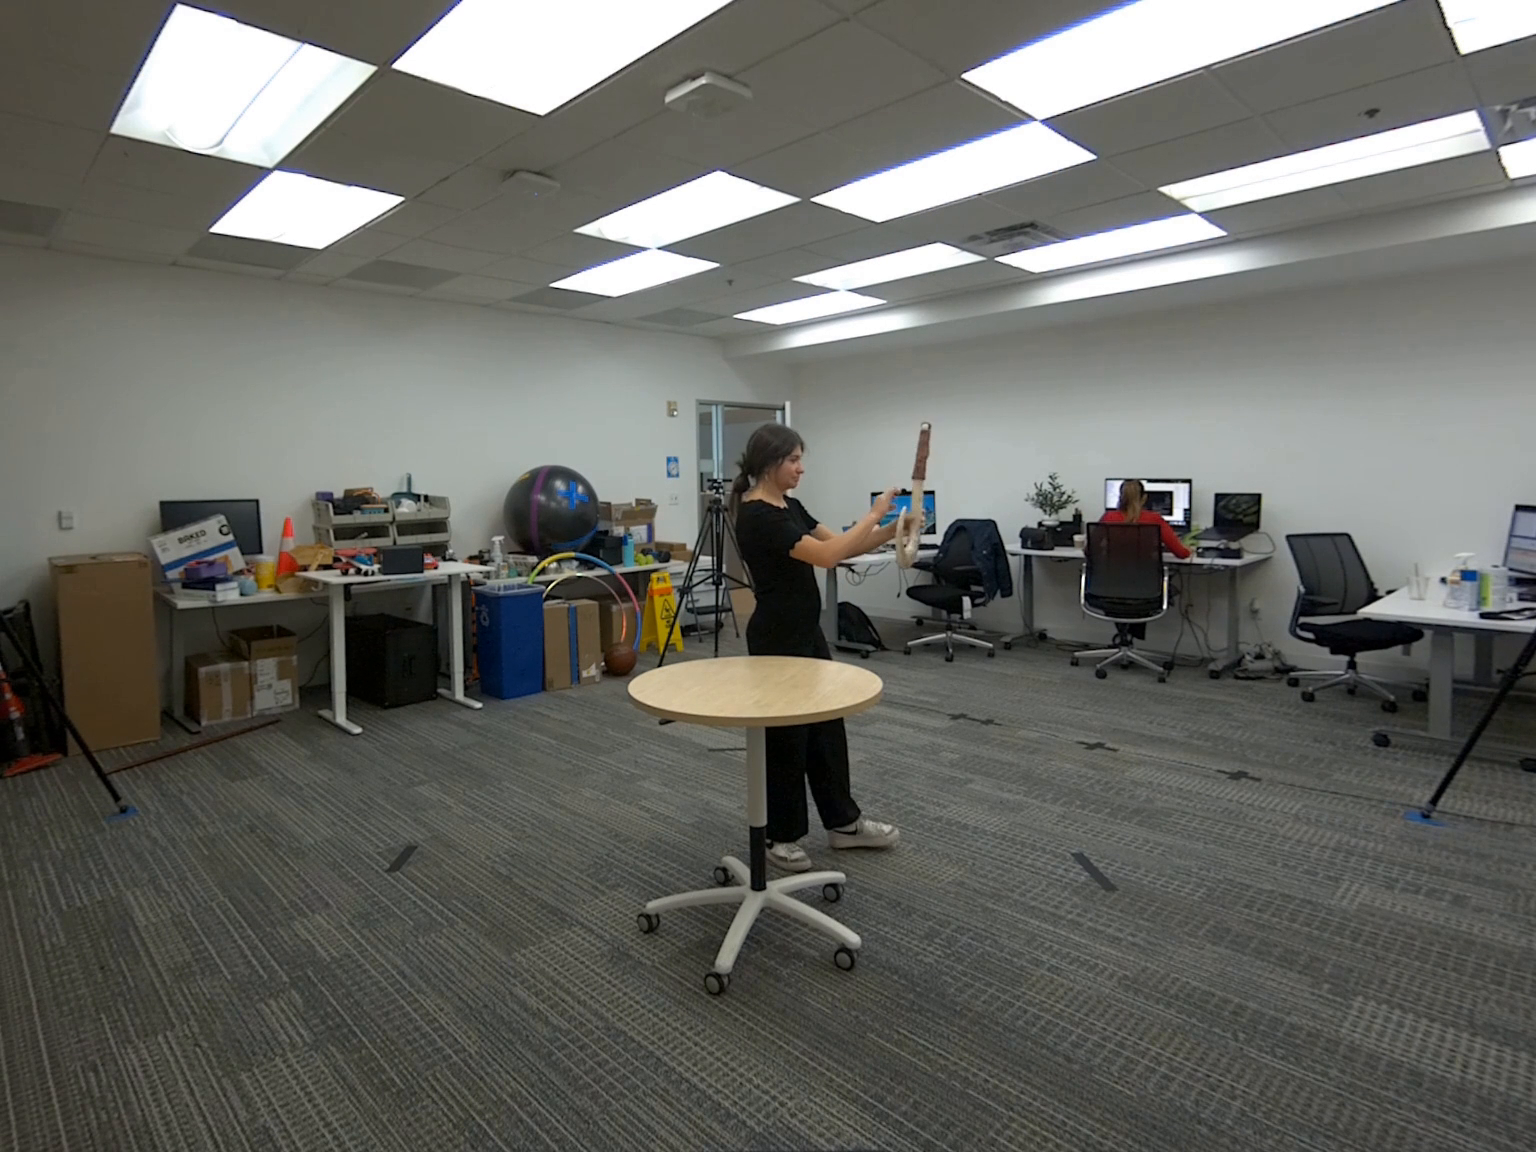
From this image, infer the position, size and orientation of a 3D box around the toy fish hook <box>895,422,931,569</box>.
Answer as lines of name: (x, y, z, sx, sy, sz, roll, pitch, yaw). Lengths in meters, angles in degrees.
toy fish hook: (0.490, -0.277, 2.880, 0.049, 0.508, 0.219, 6, -3, 21)
